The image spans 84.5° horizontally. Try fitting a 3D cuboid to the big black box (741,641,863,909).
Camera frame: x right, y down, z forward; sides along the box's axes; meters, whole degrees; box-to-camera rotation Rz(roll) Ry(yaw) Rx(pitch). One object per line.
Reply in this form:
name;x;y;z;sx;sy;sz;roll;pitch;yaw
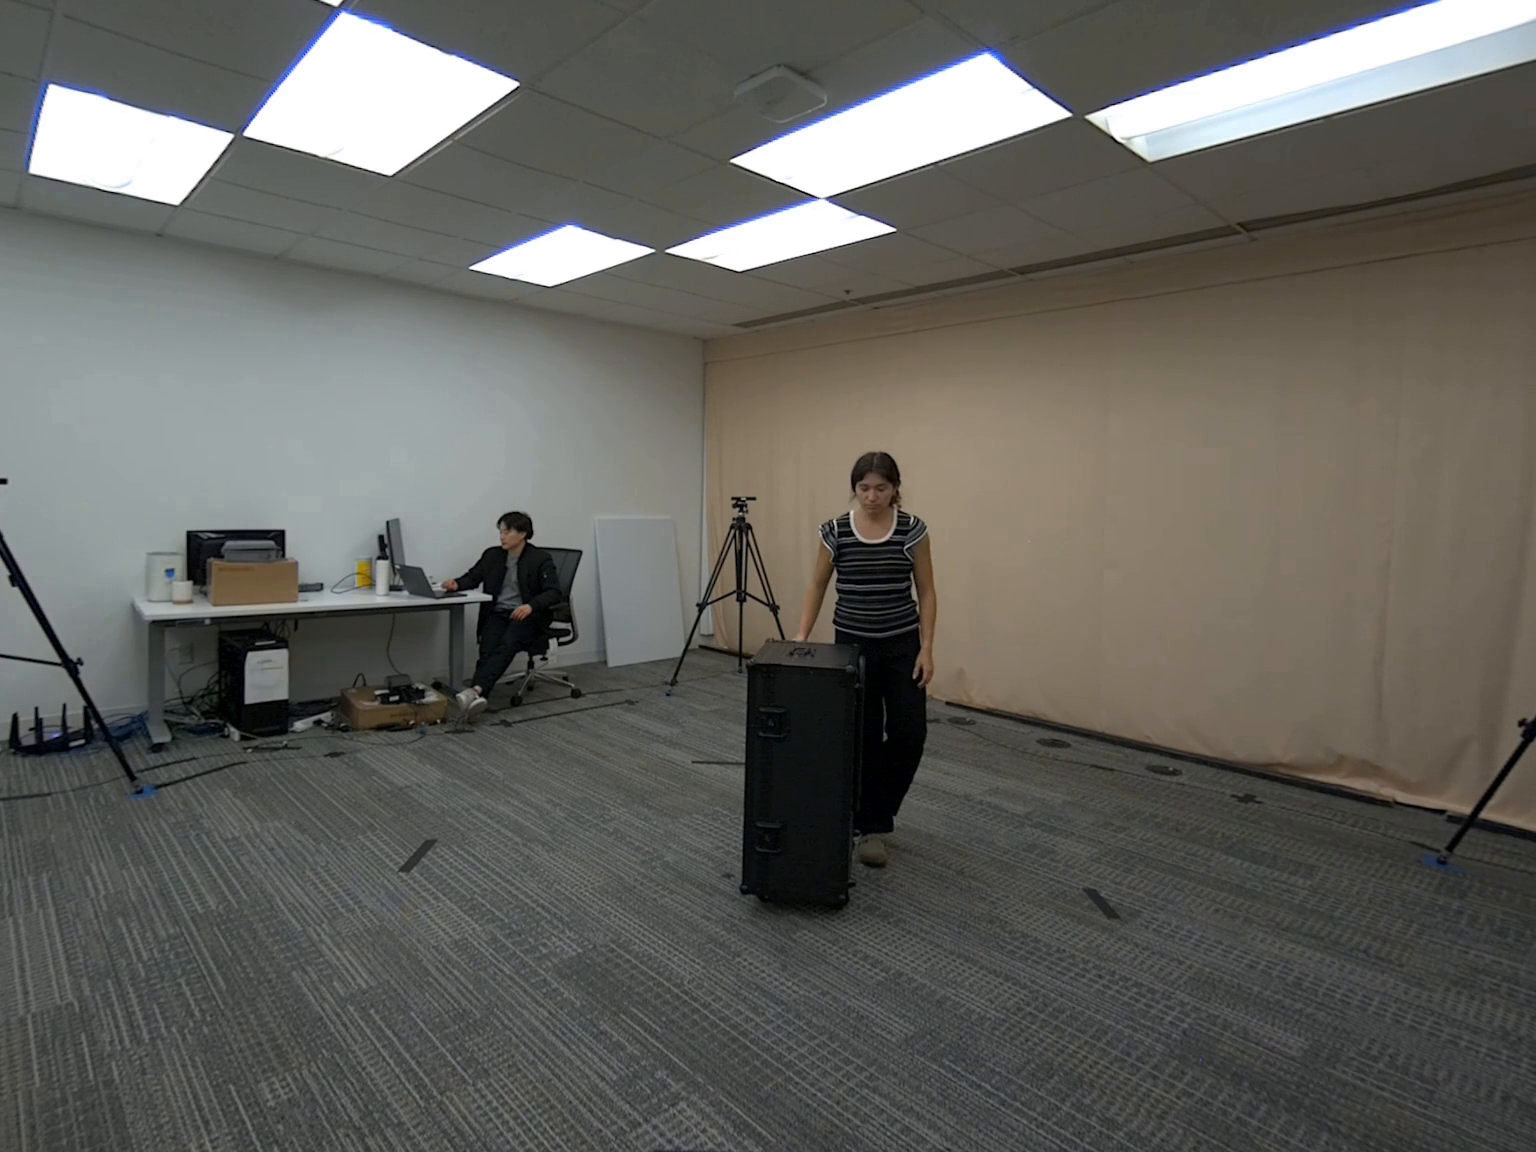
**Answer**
big black box;0.128;0.699;2.996;0.400;0.860;0.517;3;2;10
